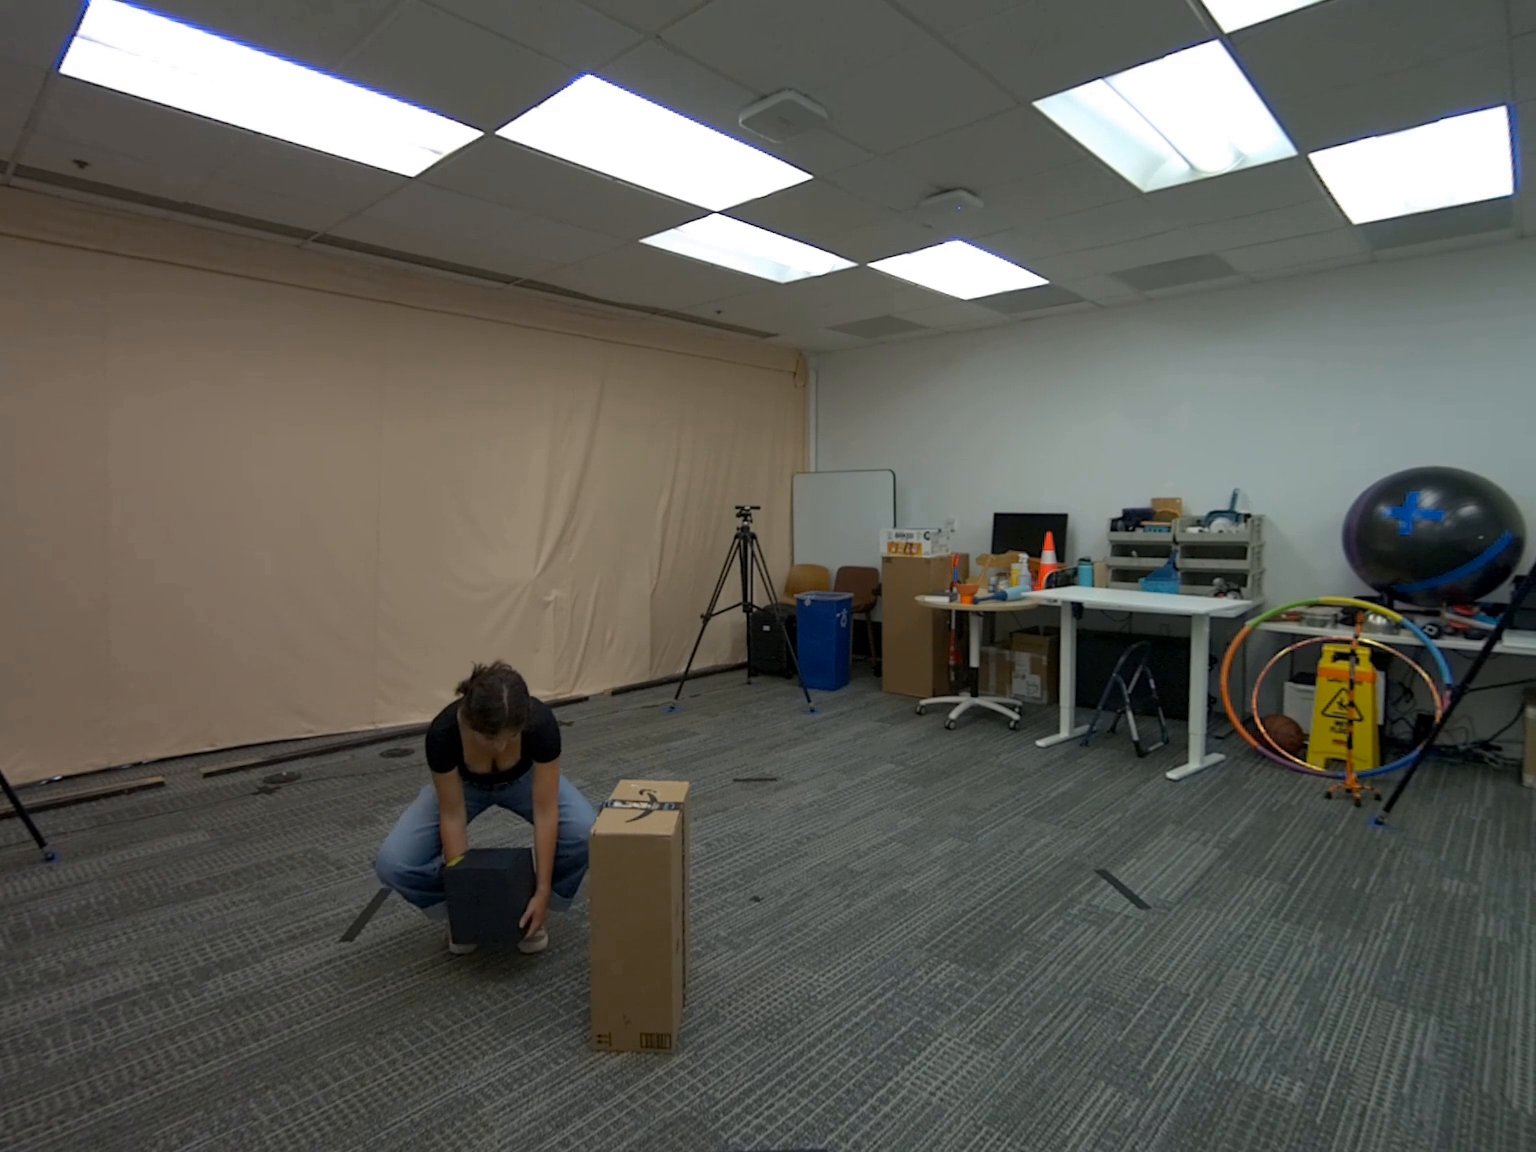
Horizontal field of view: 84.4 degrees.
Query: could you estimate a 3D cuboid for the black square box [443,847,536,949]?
[{"bbox_3d":[-0.823,0.945,2.526,0.219,0.227,0.155,-5,4,7],"label":"black square box"}]
